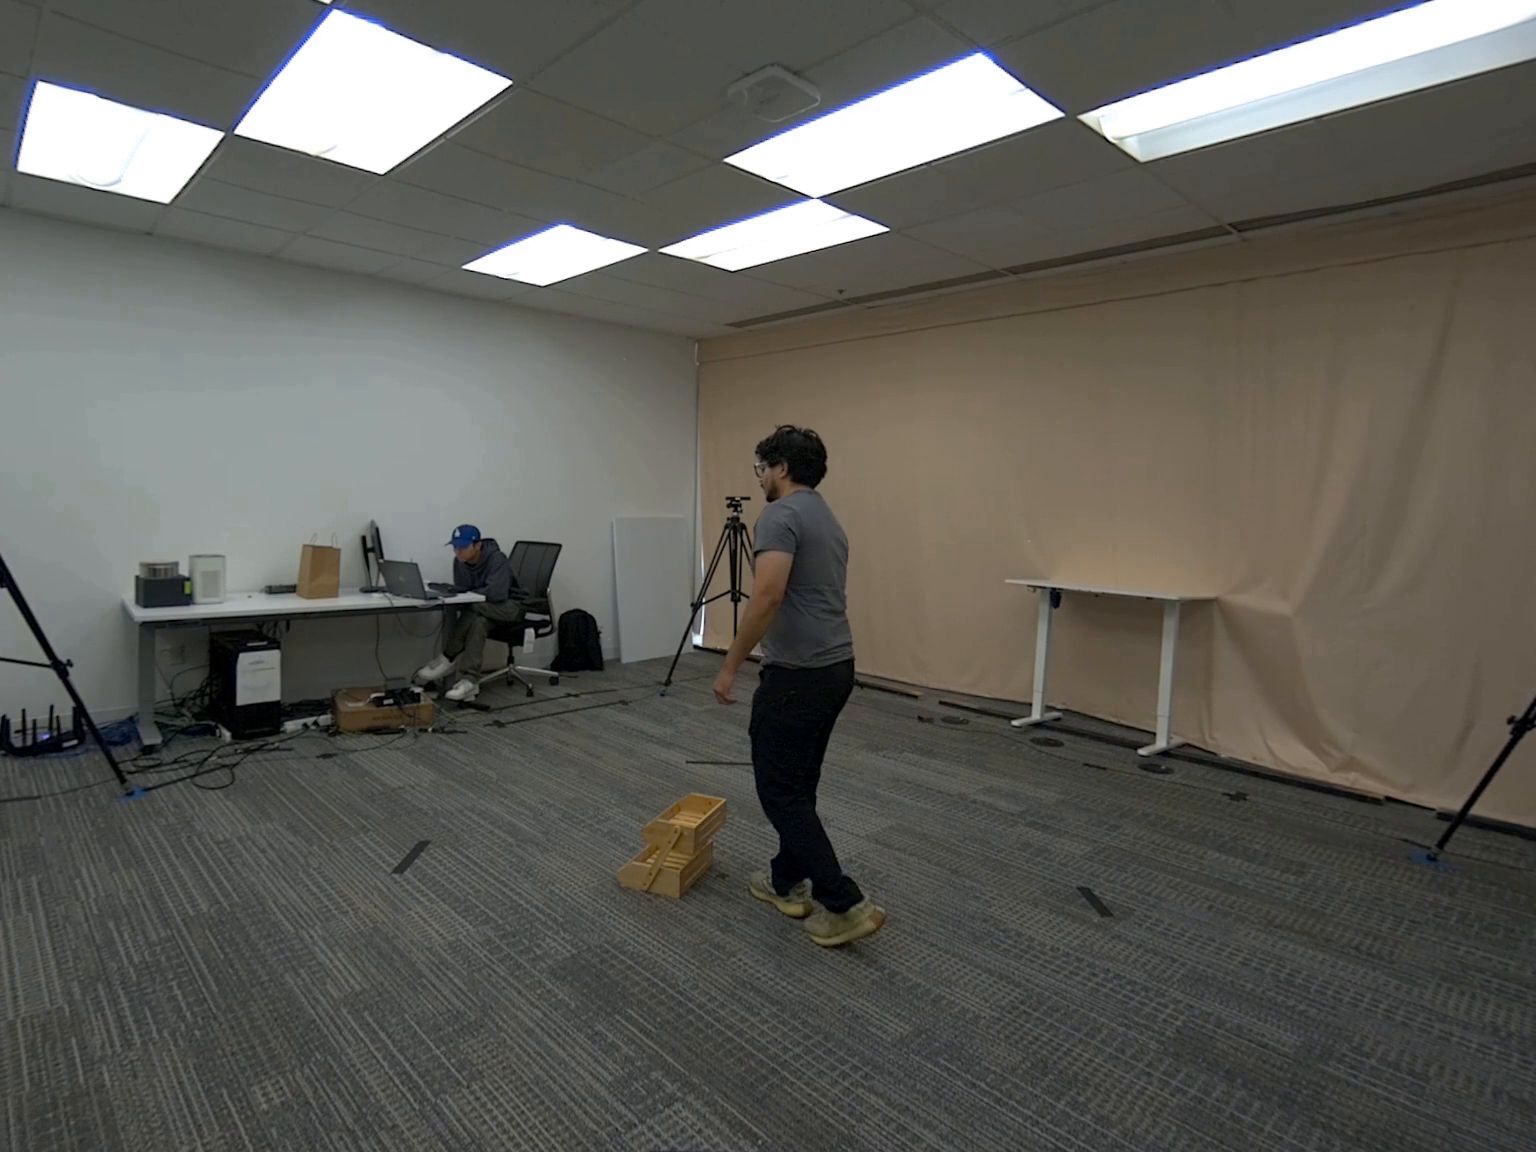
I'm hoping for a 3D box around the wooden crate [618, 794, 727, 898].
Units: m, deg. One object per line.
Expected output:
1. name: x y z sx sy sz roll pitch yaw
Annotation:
1. wooden crate: -0.366 0.973 3.093 0.307 0.272 0.320 2 5 19
